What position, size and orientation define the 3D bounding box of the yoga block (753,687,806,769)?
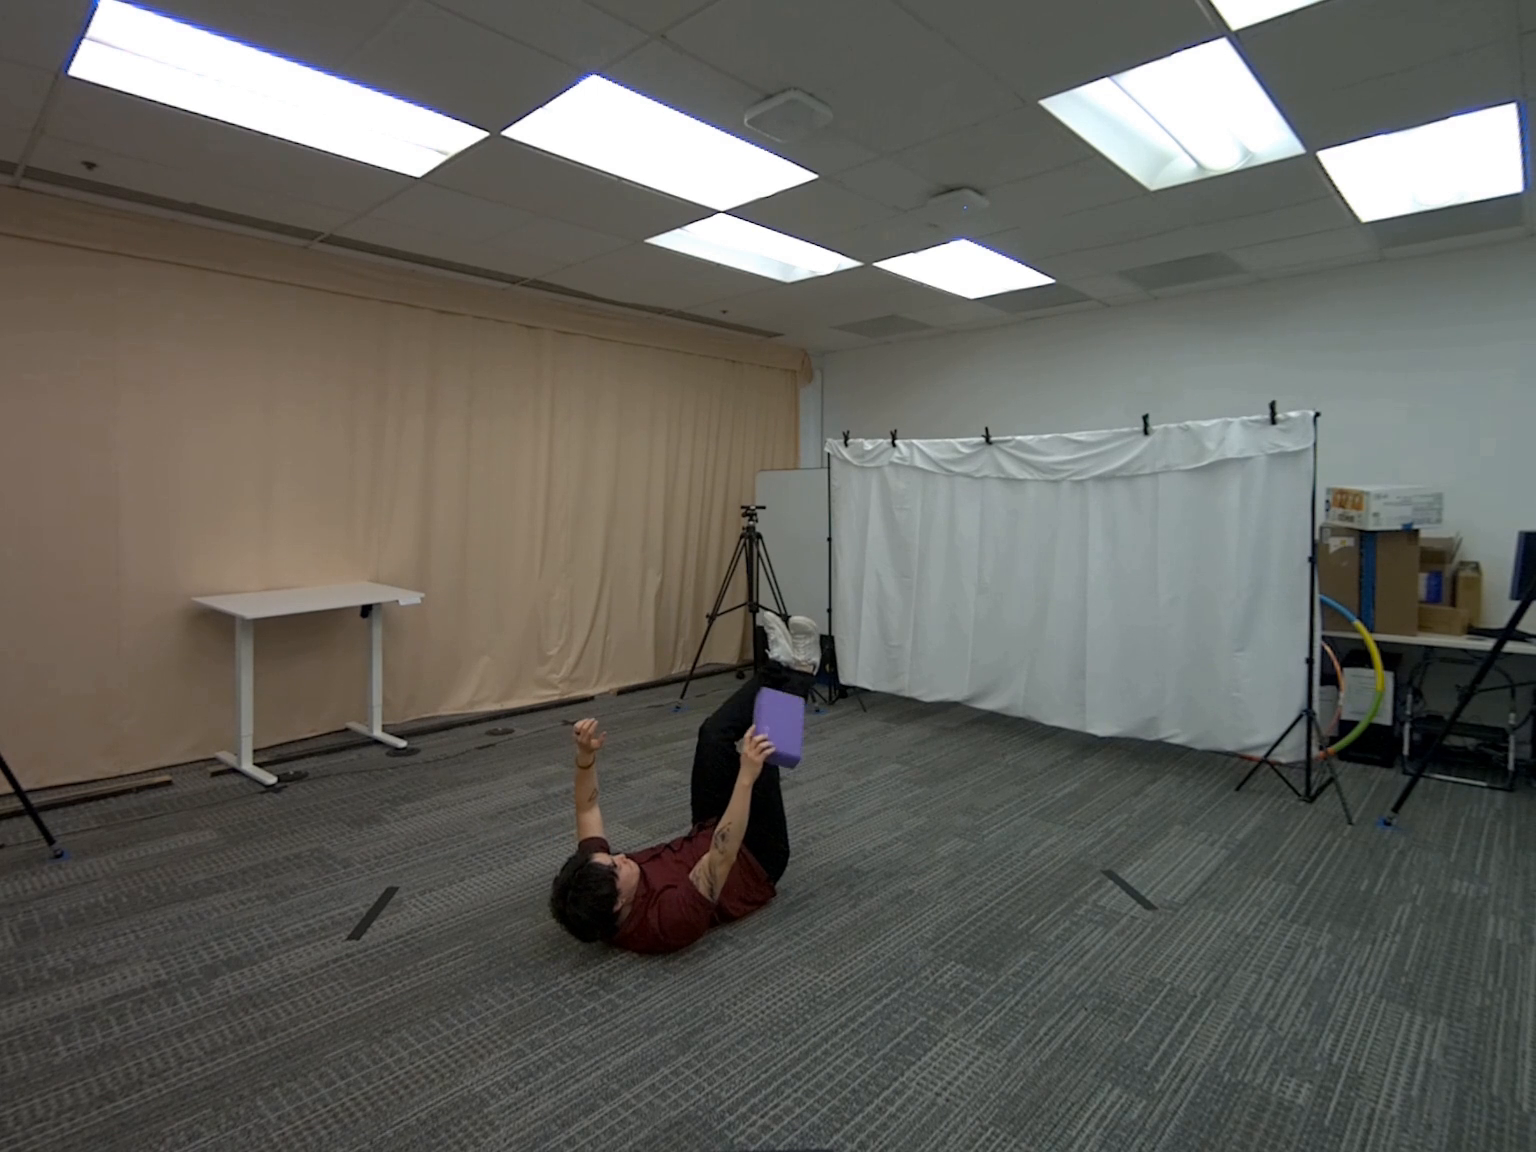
[{"bbox_3d":[0.031,0.489,2.638,0.148,0.076,0.232,19,45,-6],"label":"yoga block"}]
